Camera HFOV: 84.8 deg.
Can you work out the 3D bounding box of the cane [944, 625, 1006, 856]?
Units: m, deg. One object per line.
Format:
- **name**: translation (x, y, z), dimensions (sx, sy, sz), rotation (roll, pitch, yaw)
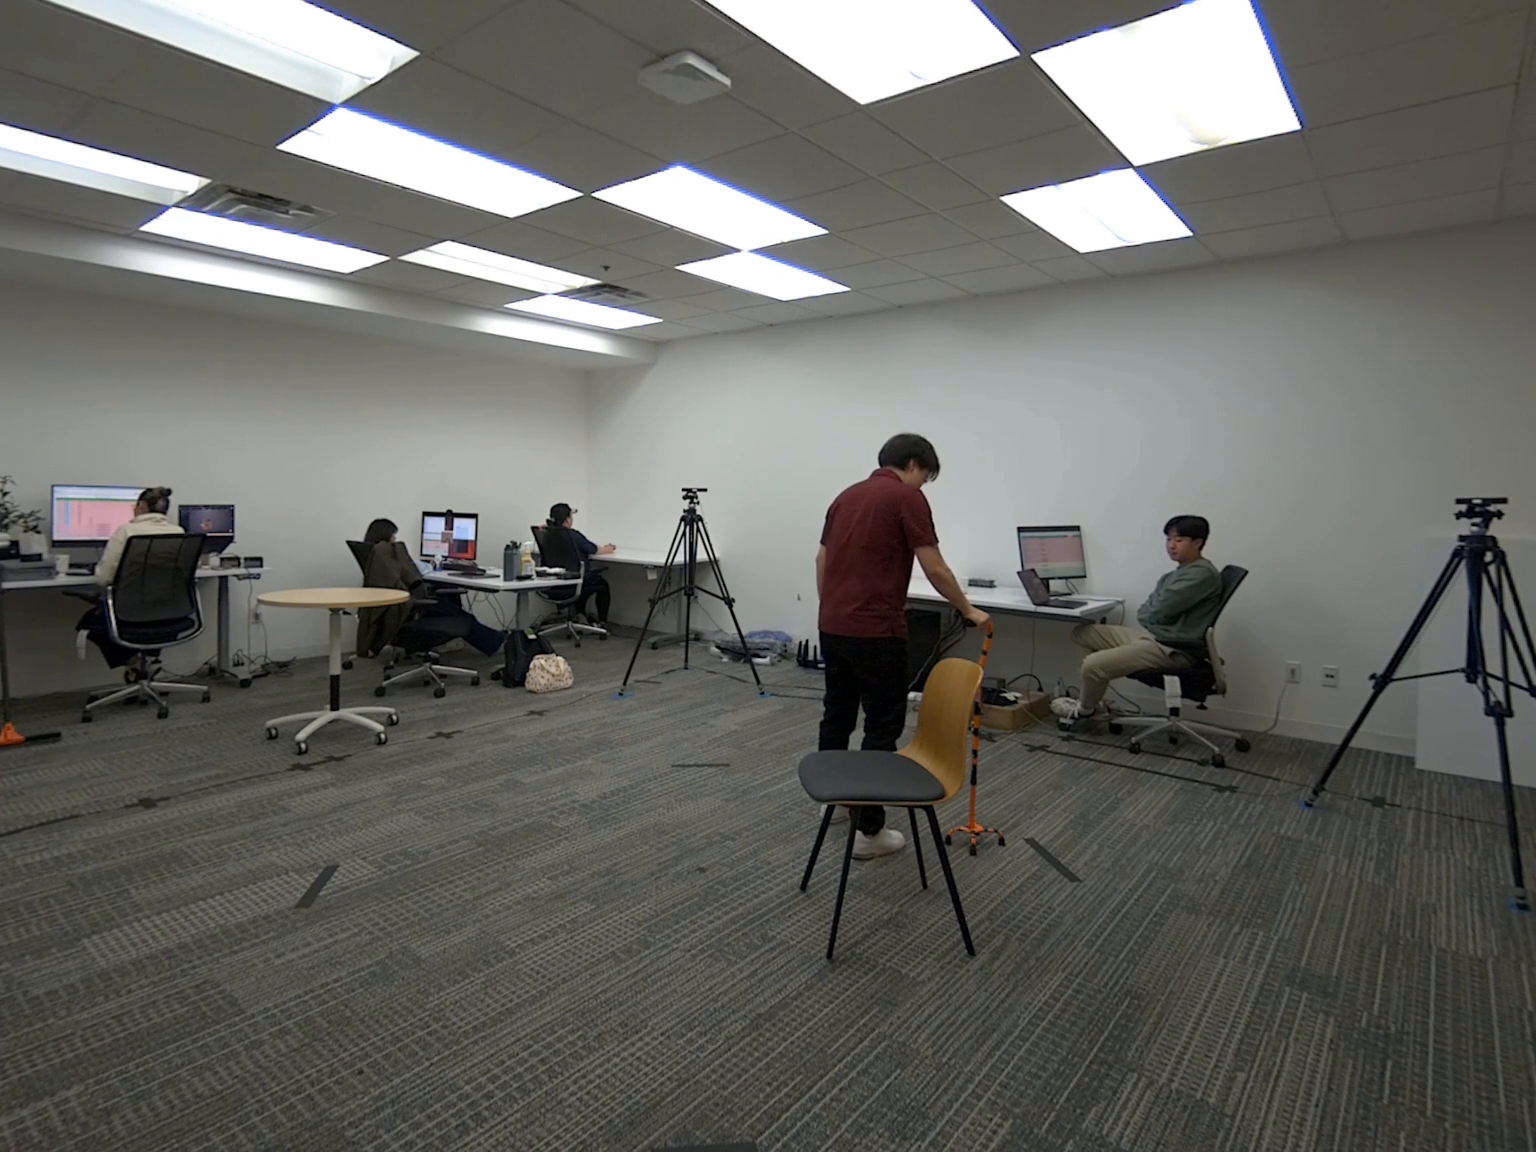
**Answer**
- **cane**: translation (0.837, 0.620, 3.365), dimensions (0.200, 0.904, 0.157), rotation (-1, 5, -36)
